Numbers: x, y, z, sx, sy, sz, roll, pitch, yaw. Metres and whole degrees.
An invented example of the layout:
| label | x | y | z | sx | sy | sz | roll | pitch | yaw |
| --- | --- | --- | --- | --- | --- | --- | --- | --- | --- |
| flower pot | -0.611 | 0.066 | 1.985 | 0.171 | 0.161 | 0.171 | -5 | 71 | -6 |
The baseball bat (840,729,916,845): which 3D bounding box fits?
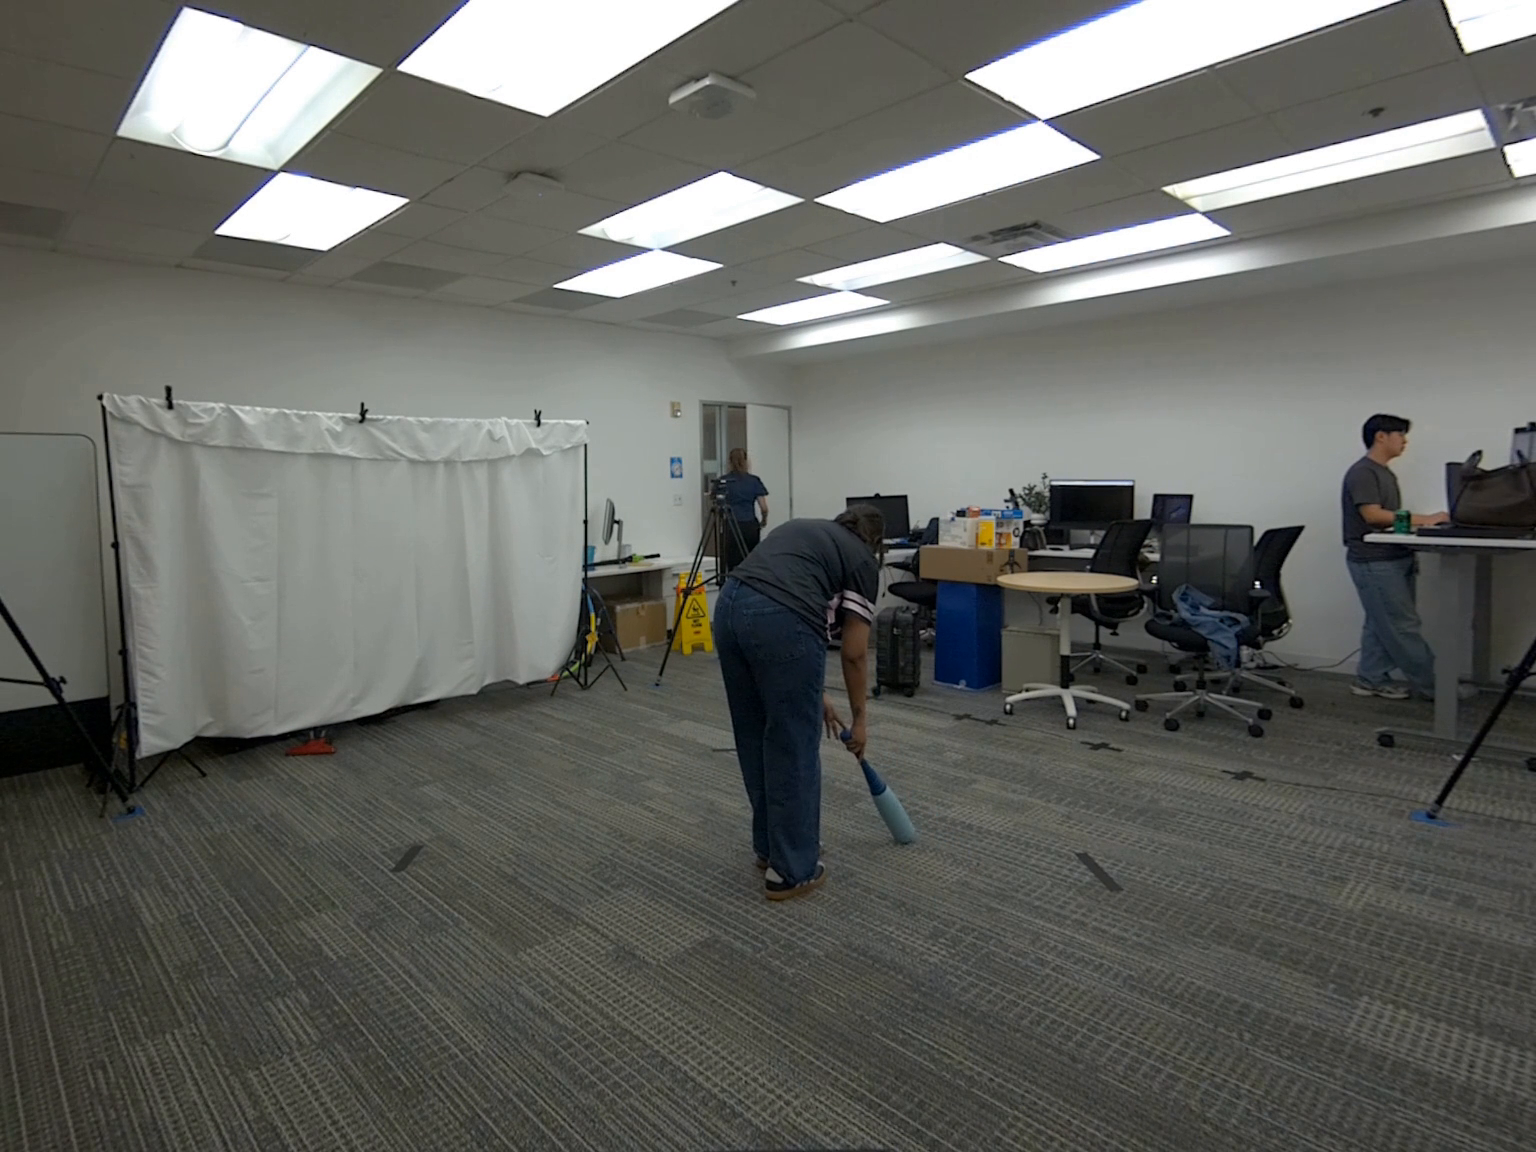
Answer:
| label | x | y | z | sx | sy | sz | roll | pitch | yaw |
| --- | --- | --- | --- | --- | --- | --- | --- | --- | --- |
| baseball bat | 0.408 | 0.791 | 3.201 | 0.089 | 0.531 | 0.090 | -29 | 18 | 9 |
